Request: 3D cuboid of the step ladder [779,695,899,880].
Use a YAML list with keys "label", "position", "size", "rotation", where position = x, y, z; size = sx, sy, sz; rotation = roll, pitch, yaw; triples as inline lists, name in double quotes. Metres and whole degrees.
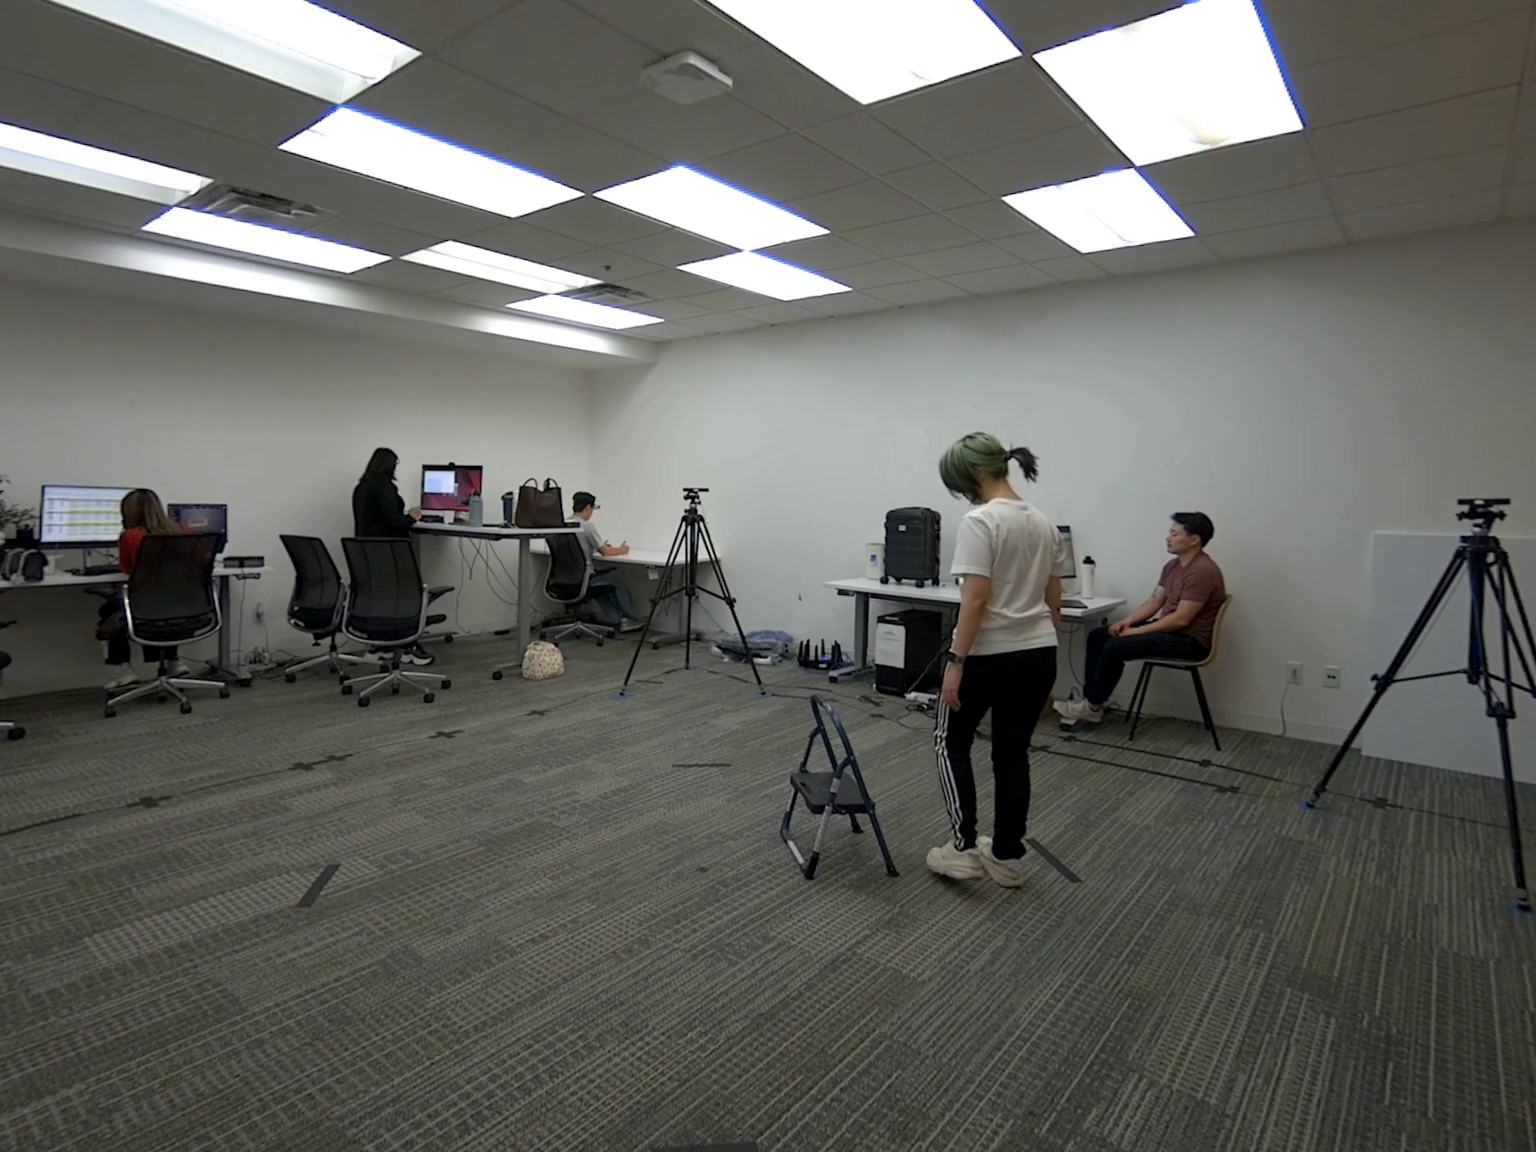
- label: "step ladder"
  position: [0.258, 0.765, 3.256]
  size: [0.345, 0.604, 0.437]
  rotation: [1, 4, -11]
